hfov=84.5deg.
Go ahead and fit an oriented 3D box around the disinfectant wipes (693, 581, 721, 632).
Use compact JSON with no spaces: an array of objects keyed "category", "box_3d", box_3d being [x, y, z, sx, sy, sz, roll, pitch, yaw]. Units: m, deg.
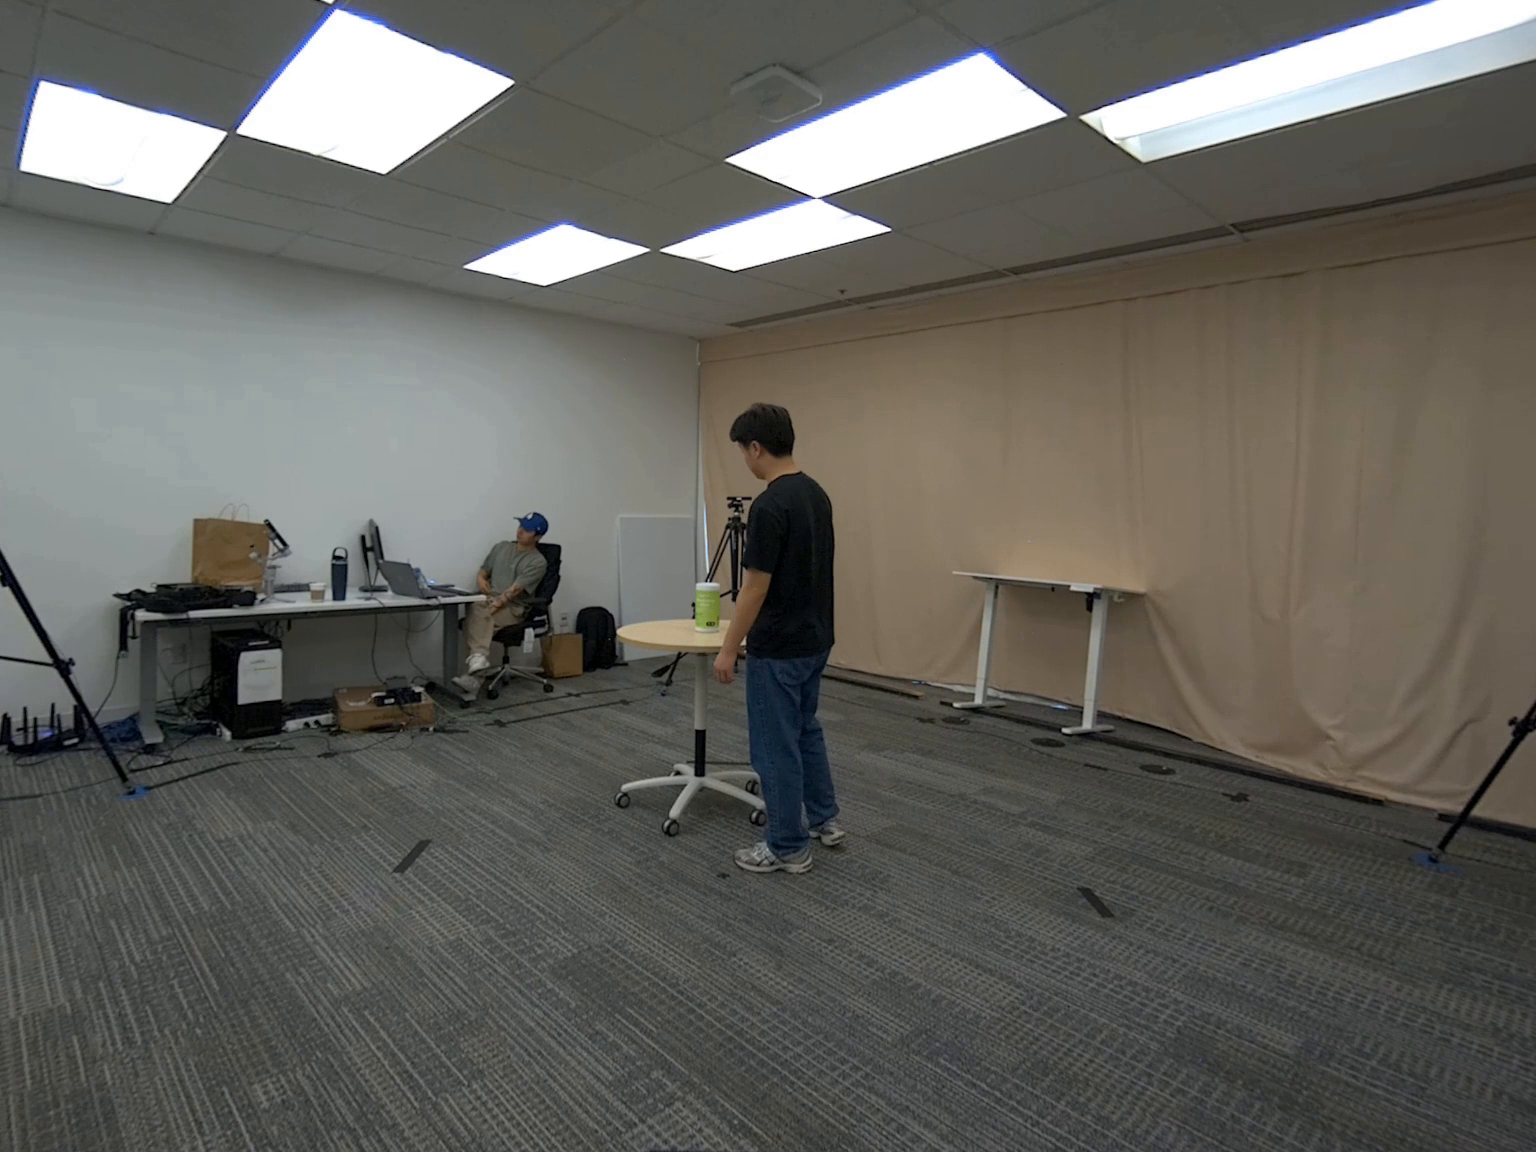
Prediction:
[{"category":"disinfectant wipes","box_3d":[-0.280,0.141,3.790,0.118,0.217,0.118,1,4,-1]}]
